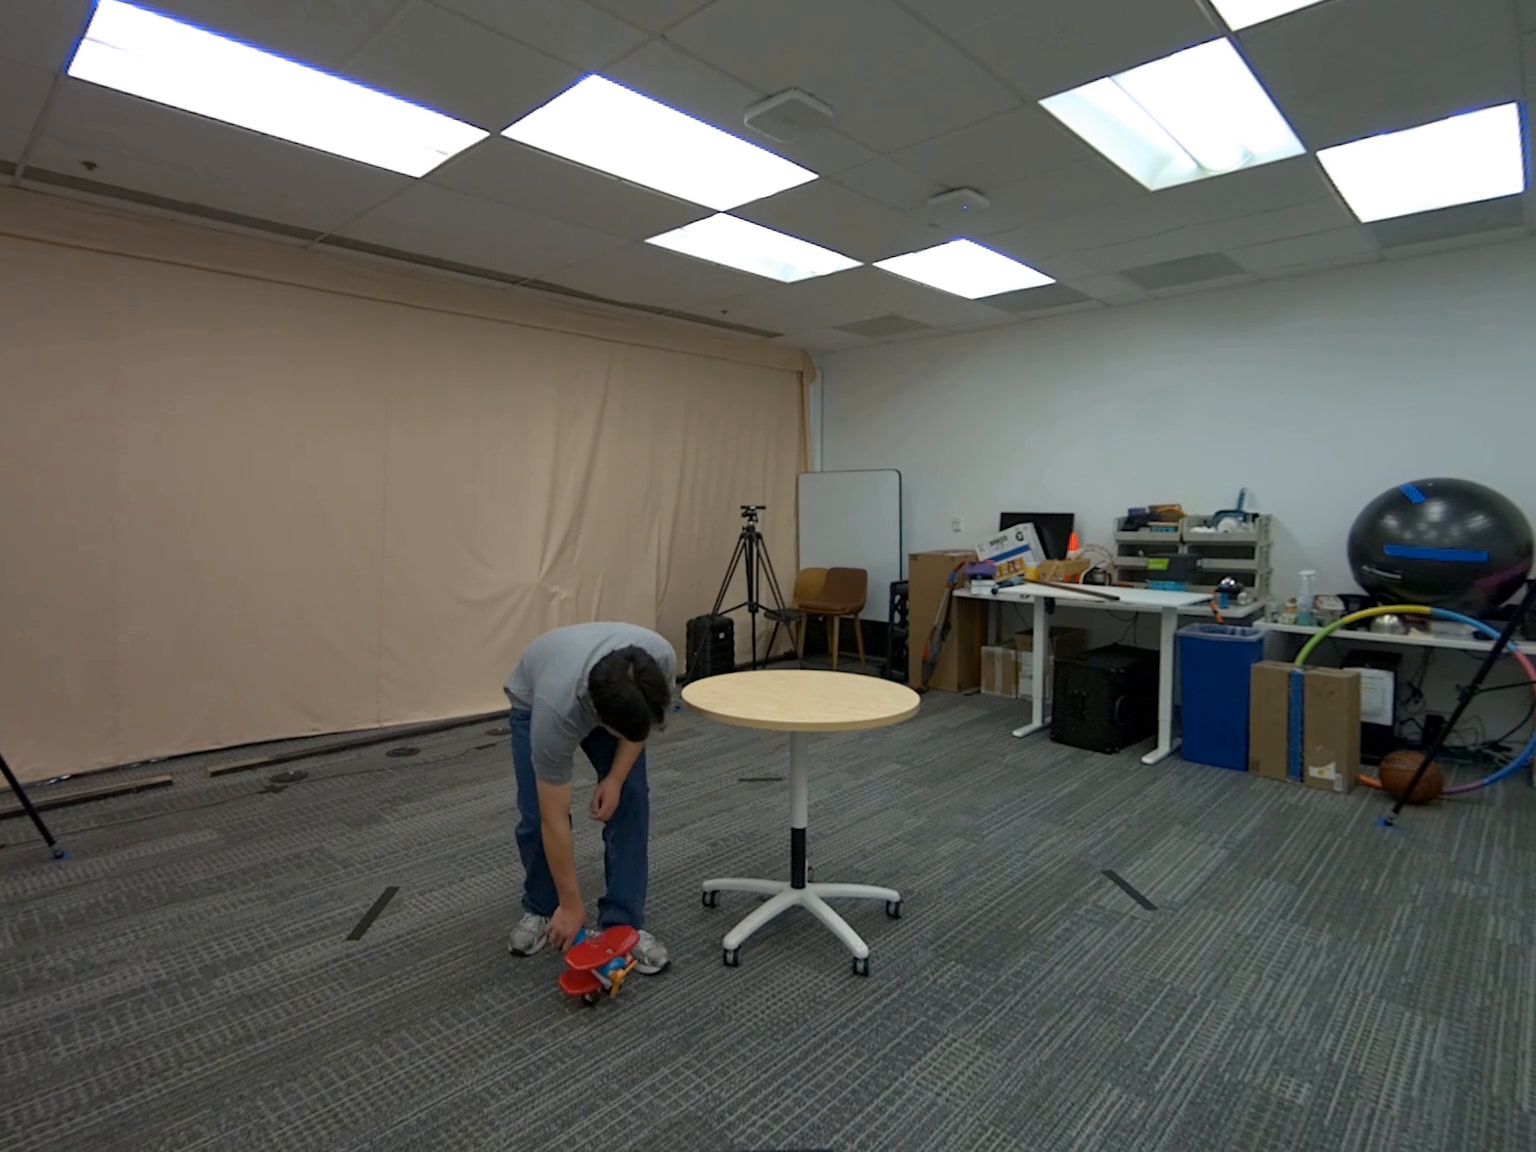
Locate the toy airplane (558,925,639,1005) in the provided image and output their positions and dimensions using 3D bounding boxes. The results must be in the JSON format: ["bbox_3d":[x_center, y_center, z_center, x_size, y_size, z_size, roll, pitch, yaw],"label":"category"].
[{"bbox_3d":[-0.507,1.084,2.389,0.261,0.156,0.250,28,20,4],"label":"toy airplane"}]
